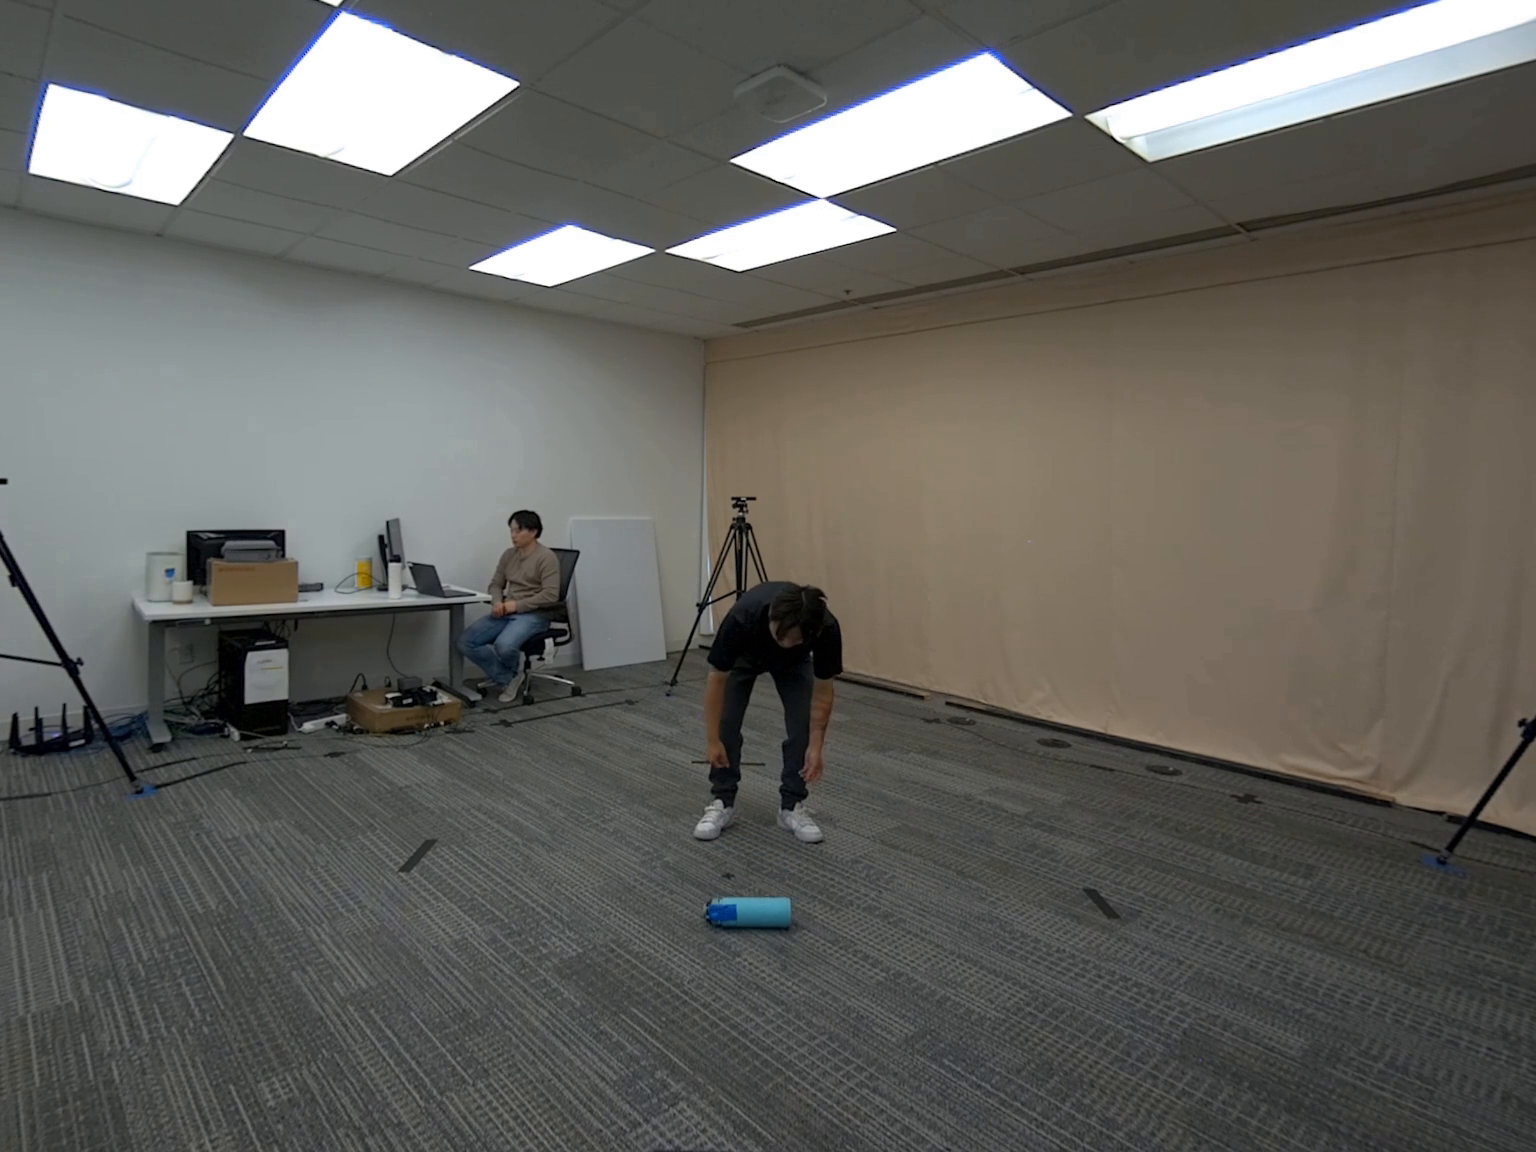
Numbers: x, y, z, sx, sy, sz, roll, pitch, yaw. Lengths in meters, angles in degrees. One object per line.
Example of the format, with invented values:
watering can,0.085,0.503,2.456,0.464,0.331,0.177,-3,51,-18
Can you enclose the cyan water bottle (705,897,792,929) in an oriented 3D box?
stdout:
cyan water bottle,-0.075,1.094,2.742,0.283,0.092,0.093,0,4,-1
